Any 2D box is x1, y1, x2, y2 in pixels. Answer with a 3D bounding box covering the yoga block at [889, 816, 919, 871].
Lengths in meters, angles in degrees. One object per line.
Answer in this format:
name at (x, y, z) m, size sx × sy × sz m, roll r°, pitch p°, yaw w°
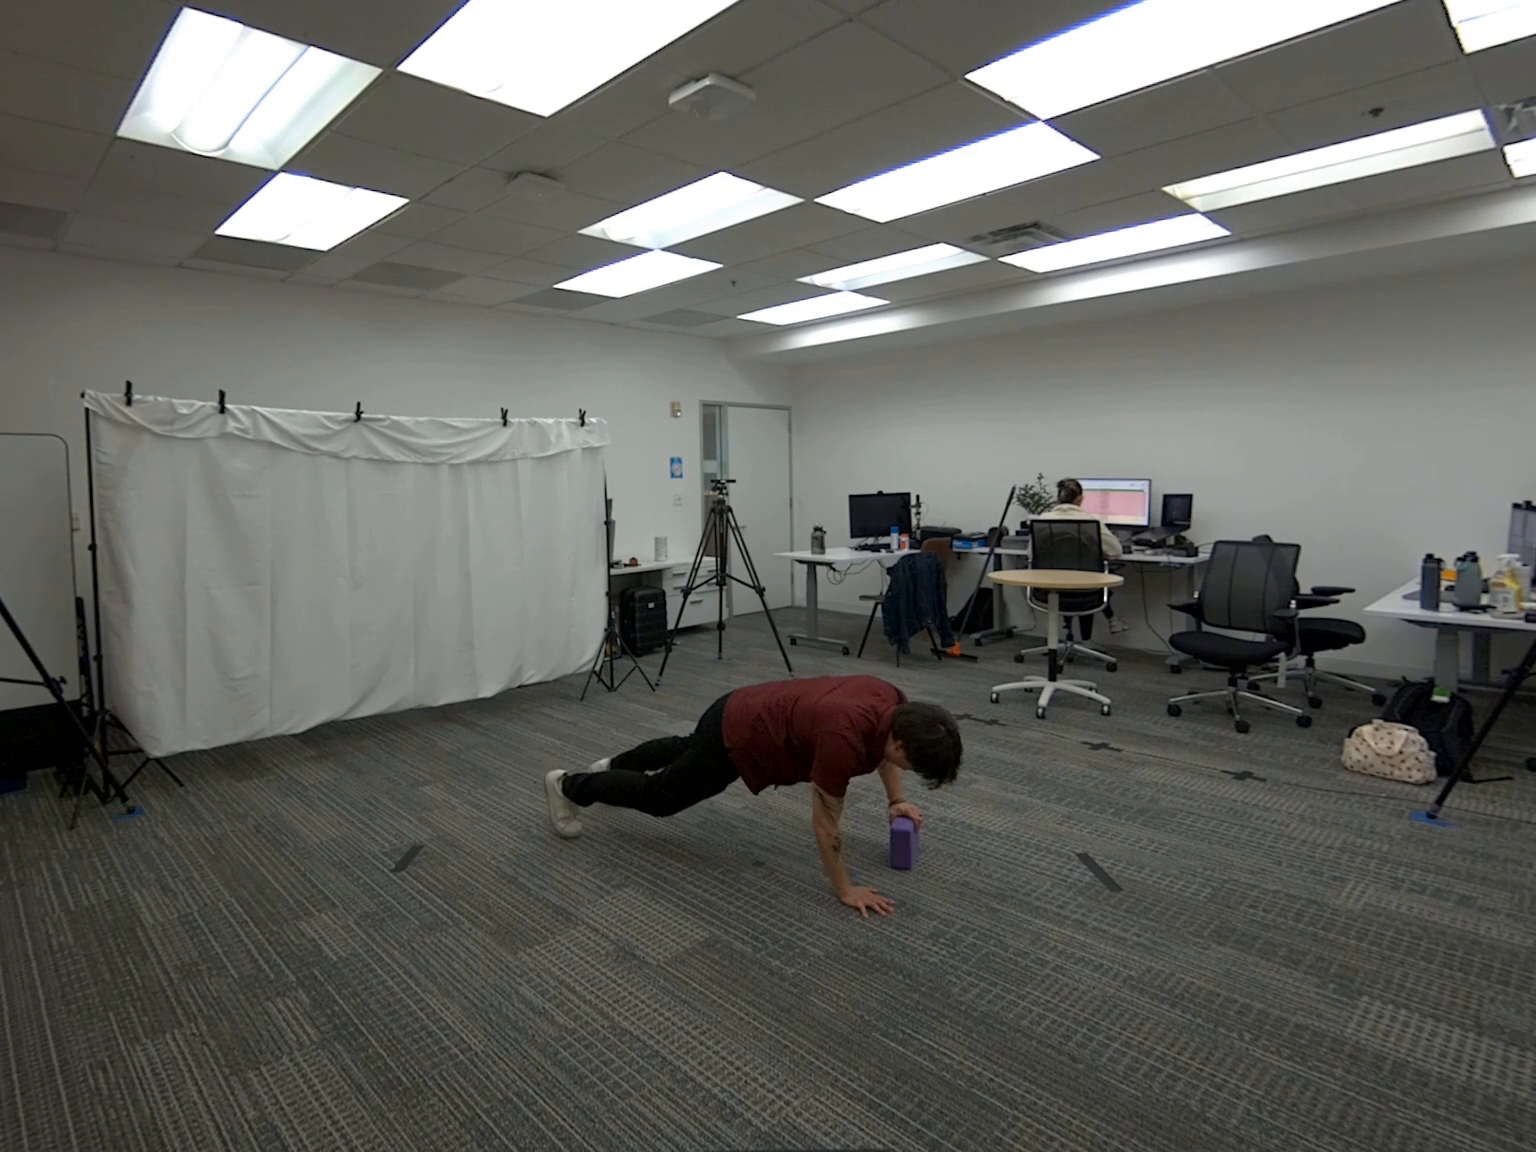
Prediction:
yoga block at (0.497, 0.951, 3.139) m, size 0.078 × 0.148 × 0.226 m, roll 0°, pitch 6°, yaw 17°
